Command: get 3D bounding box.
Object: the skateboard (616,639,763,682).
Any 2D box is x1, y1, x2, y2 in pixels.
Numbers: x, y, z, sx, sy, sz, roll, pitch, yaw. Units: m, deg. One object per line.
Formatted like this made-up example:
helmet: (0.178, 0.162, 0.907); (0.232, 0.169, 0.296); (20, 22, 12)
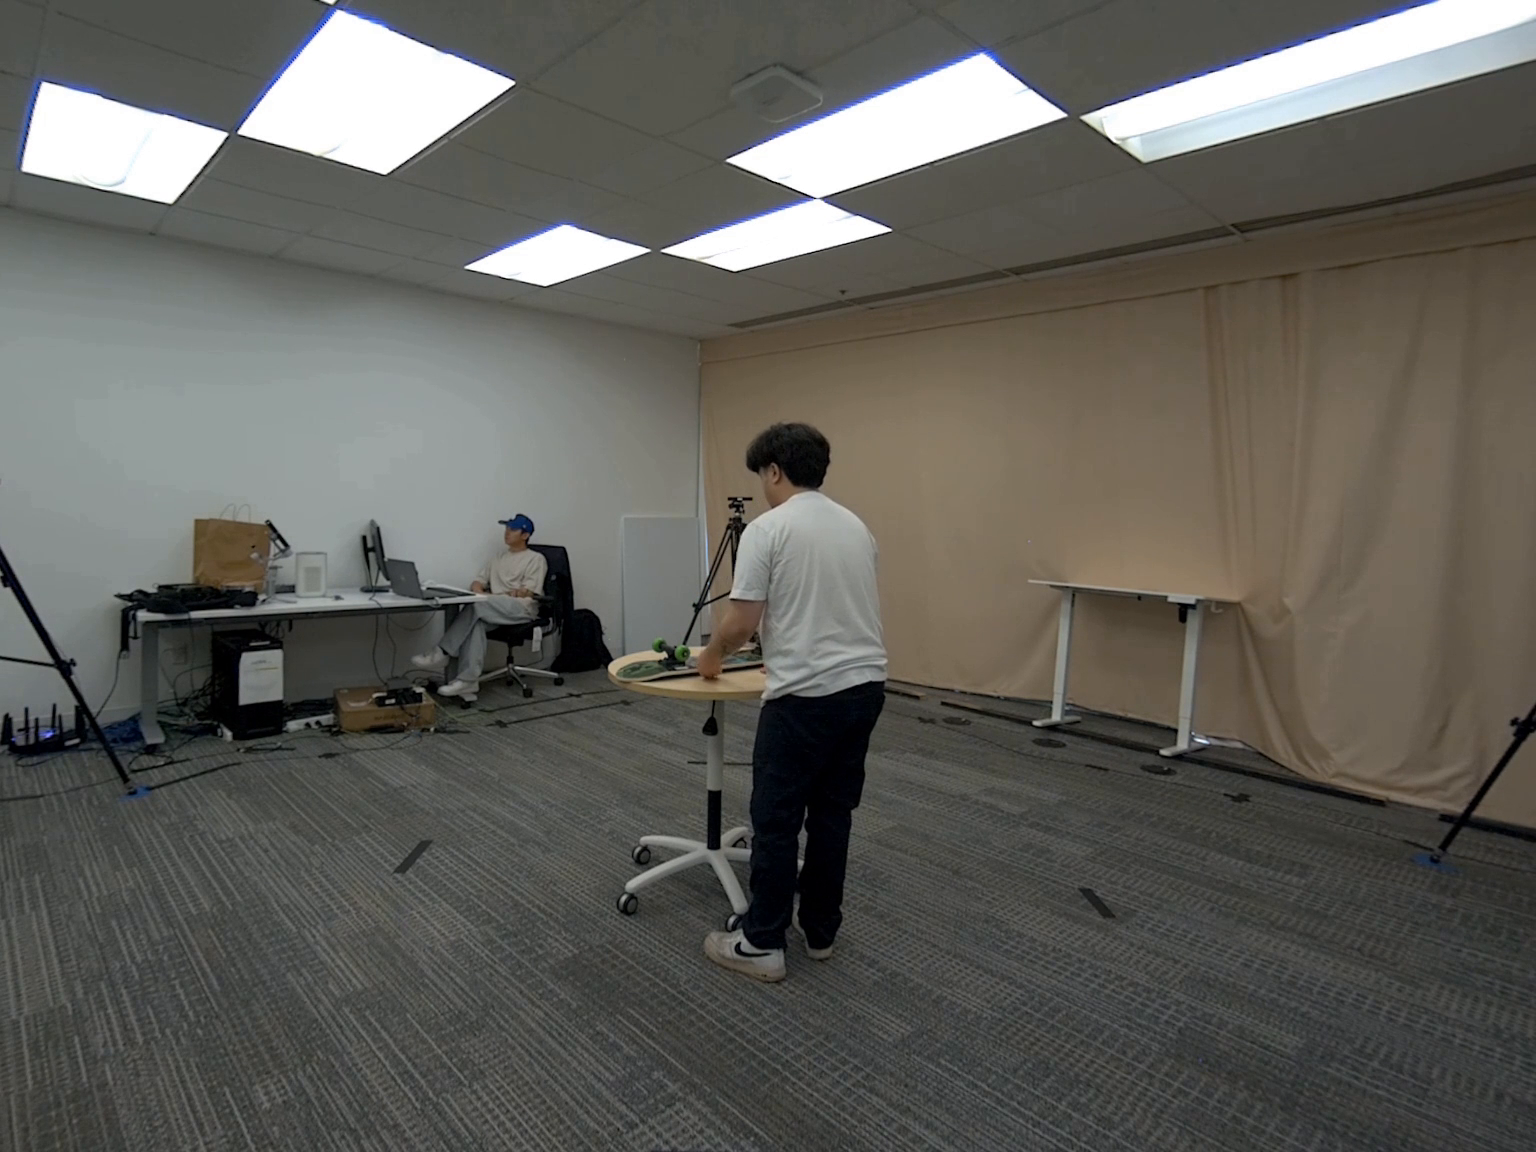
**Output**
skateboard: (-0.173, 0.274, 2.970); (0.769, 0.110, 0.198); (-3, 10, -34)
